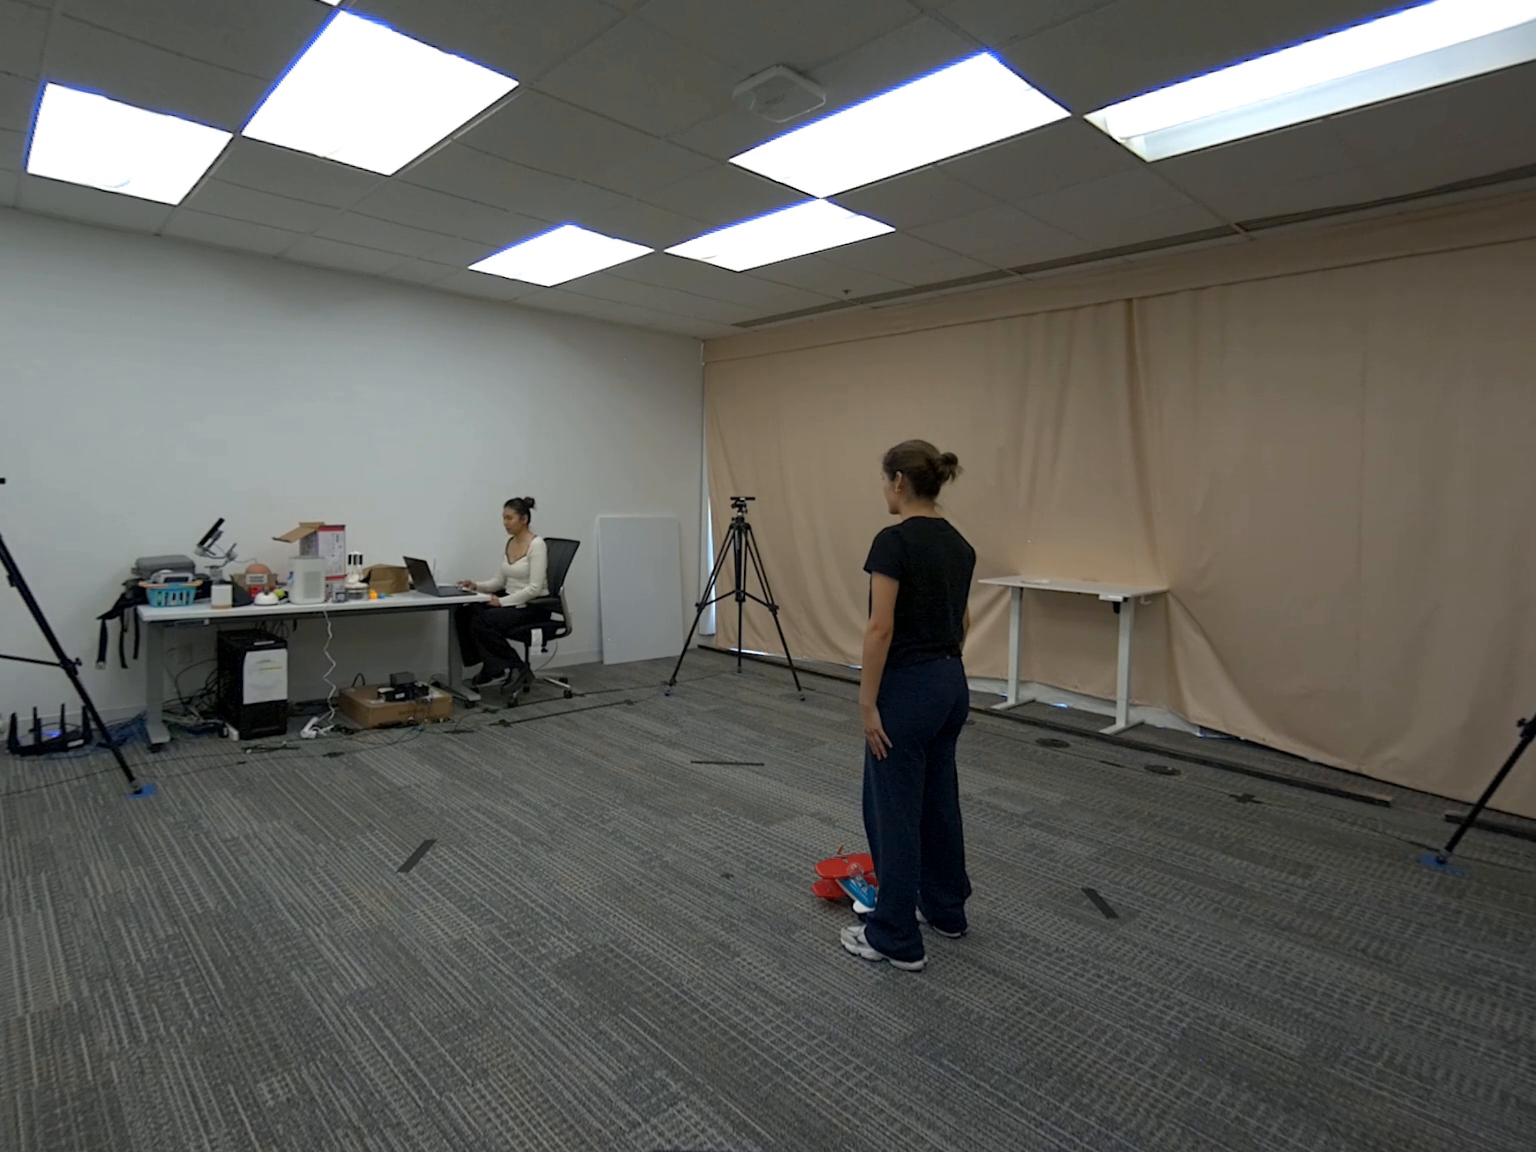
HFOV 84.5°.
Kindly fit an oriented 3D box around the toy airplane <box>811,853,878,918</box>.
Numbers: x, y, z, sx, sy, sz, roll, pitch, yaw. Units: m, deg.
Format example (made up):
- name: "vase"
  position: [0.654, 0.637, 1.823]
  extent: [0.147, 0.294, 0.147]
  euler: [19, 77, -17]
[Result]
- name: "toy airplane"
  position: [0.301, 1.066, 2.870]
  extent: [0.265, 0.156, 0.246]
  euler: [3, 6, 37]
